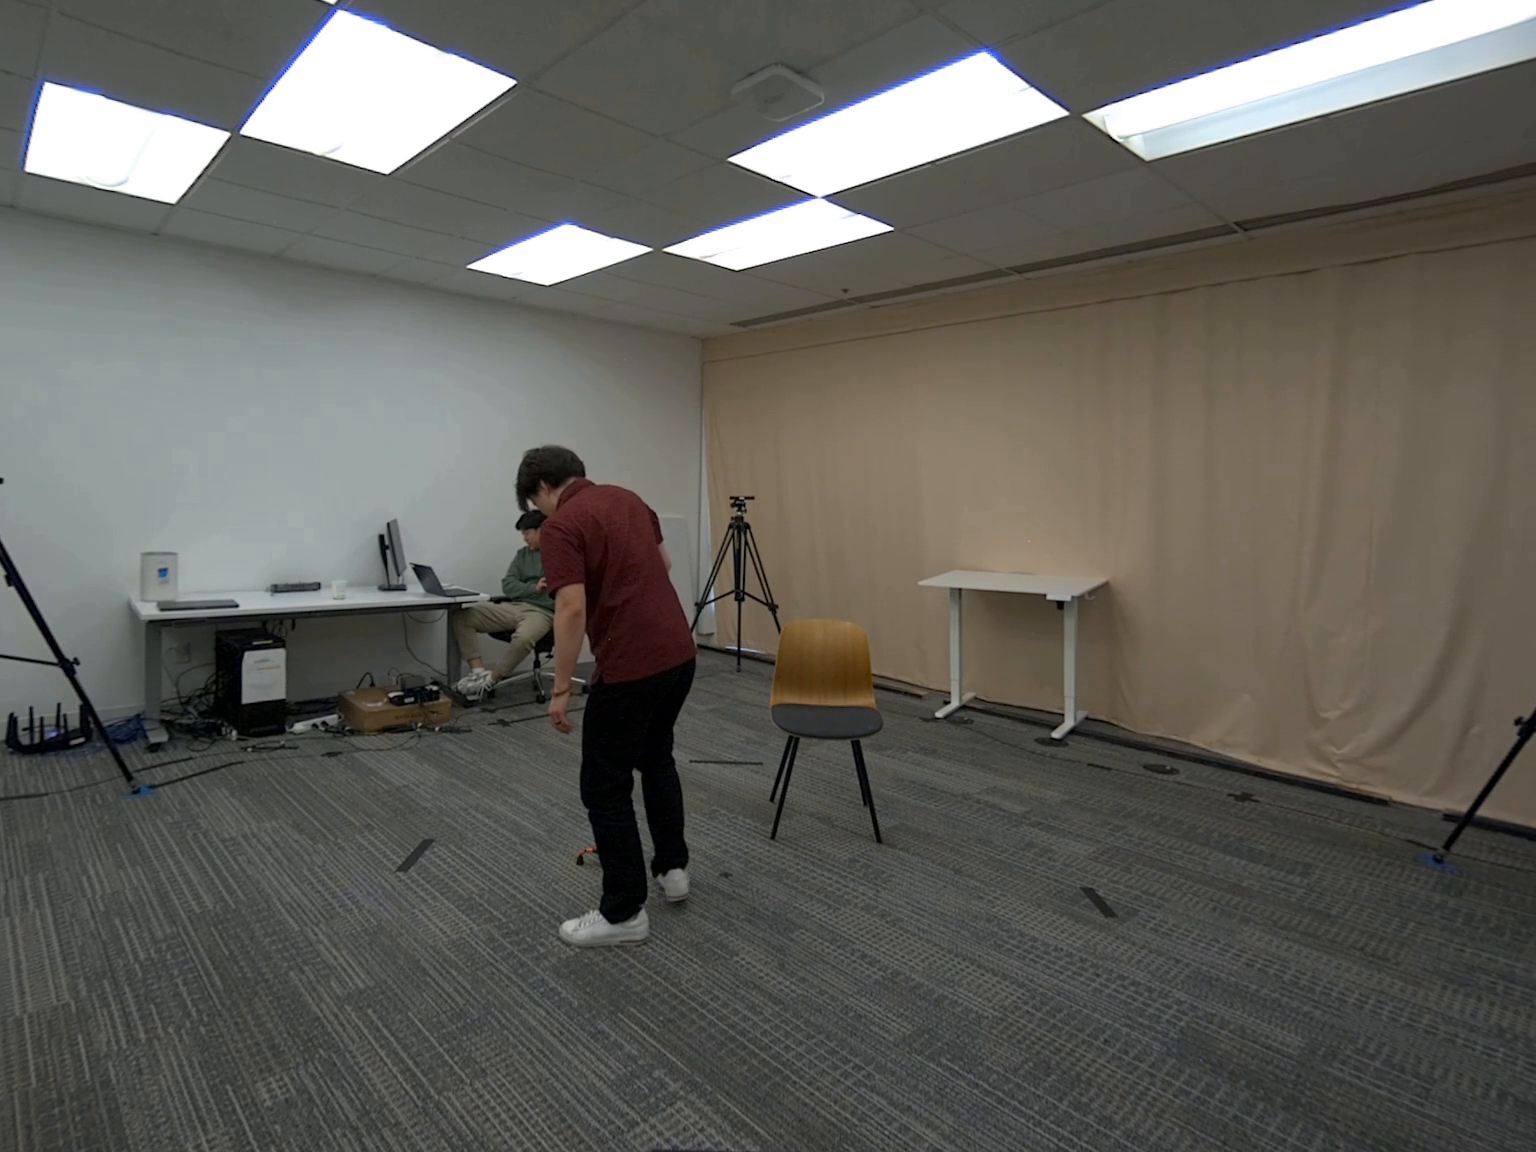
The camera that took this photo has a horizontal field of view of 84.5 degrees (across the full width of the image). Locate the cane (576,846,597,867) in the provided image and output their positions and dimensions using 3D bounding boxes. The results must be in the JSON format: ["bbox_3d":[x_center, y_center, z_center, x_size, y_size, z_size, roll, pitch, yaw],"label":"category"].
[{"bbox_3d":[-0.594,0.639,3.170,0.210,0.906,0.149,3,3,23],"label":"cane"}]
